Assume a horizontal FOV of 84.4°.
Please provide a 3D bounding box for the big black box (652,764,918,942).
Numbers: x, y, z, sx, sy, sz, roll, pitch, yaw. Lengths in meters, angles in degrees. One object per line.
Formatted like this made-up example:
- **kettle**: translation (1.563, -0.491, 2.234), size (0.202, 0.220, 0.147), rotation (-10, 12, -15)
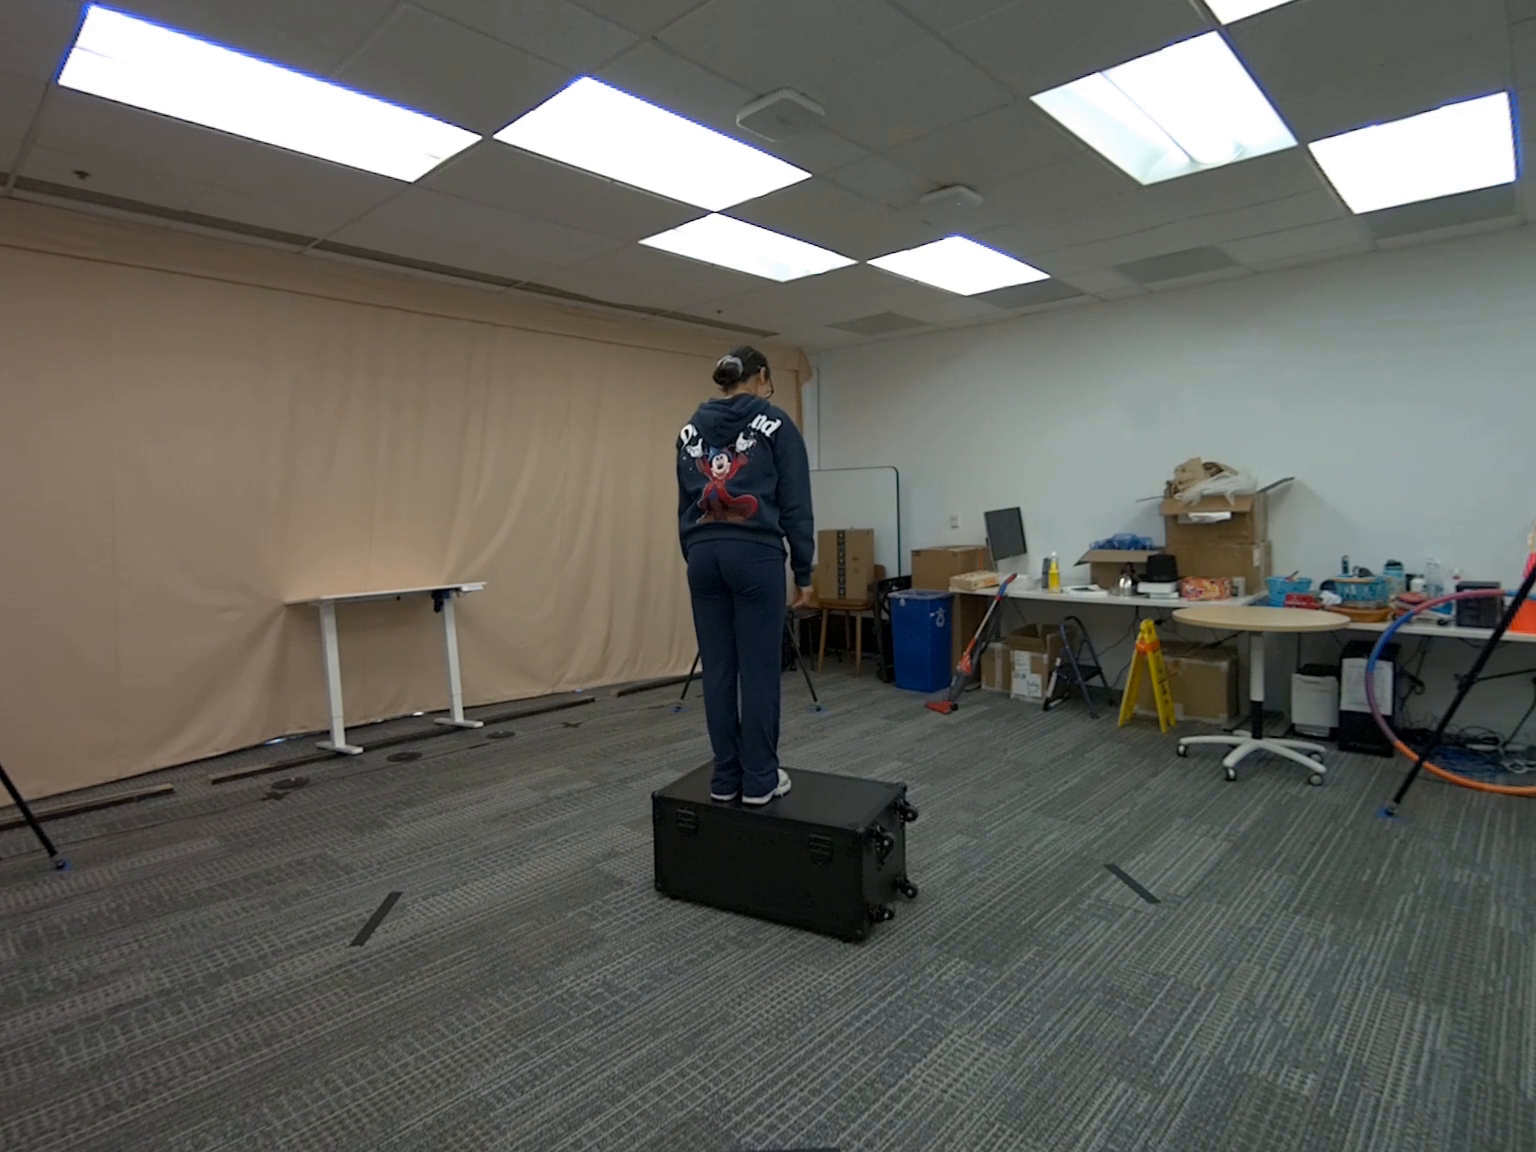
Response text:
- **big black box**: translation (0.077, 0.950, 3.001), size (0.885, 0.395, 0.508), rotation (1, 4, 27)
